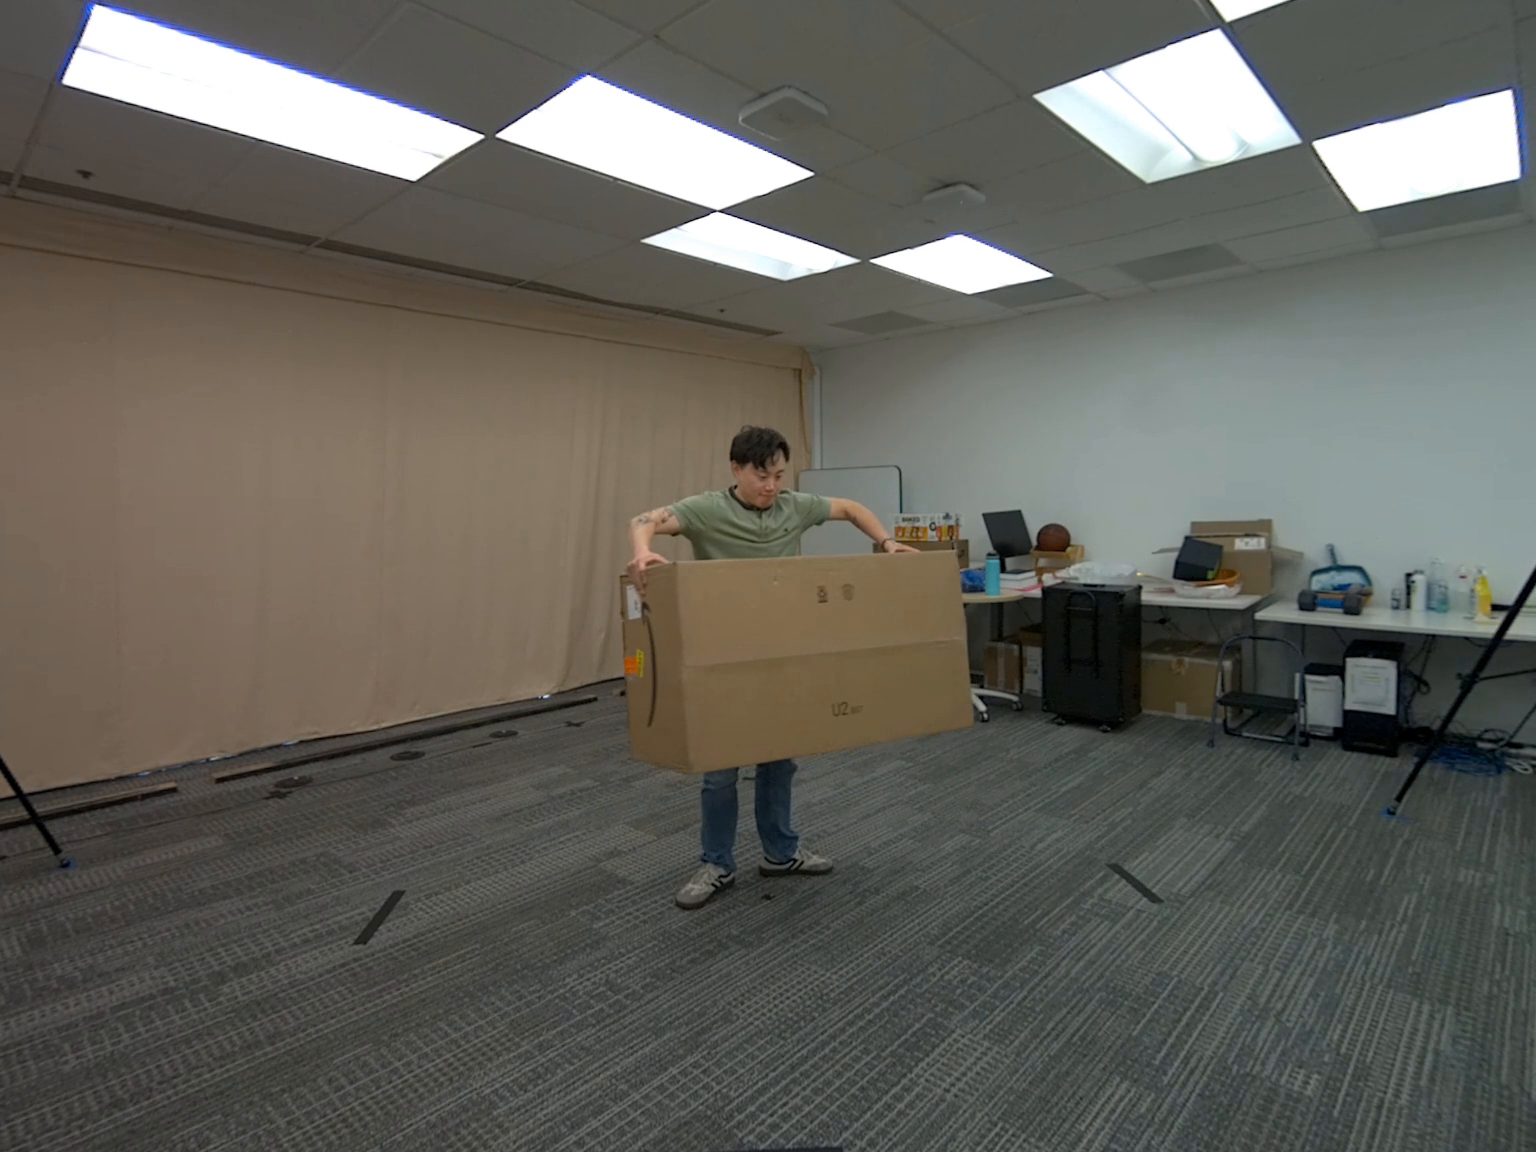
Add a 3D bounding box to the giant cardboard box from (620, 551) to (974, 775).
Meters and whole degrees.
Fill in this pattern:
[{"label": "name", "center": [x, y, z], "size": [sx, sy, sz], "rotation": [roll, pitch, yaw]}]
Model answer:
[{"label": "giant cardboard box", "center": [0.095, 0.247, 2.678], "size": [0.999, 0.579, 0.436], "rotation": [-2, -5, -28]}]
